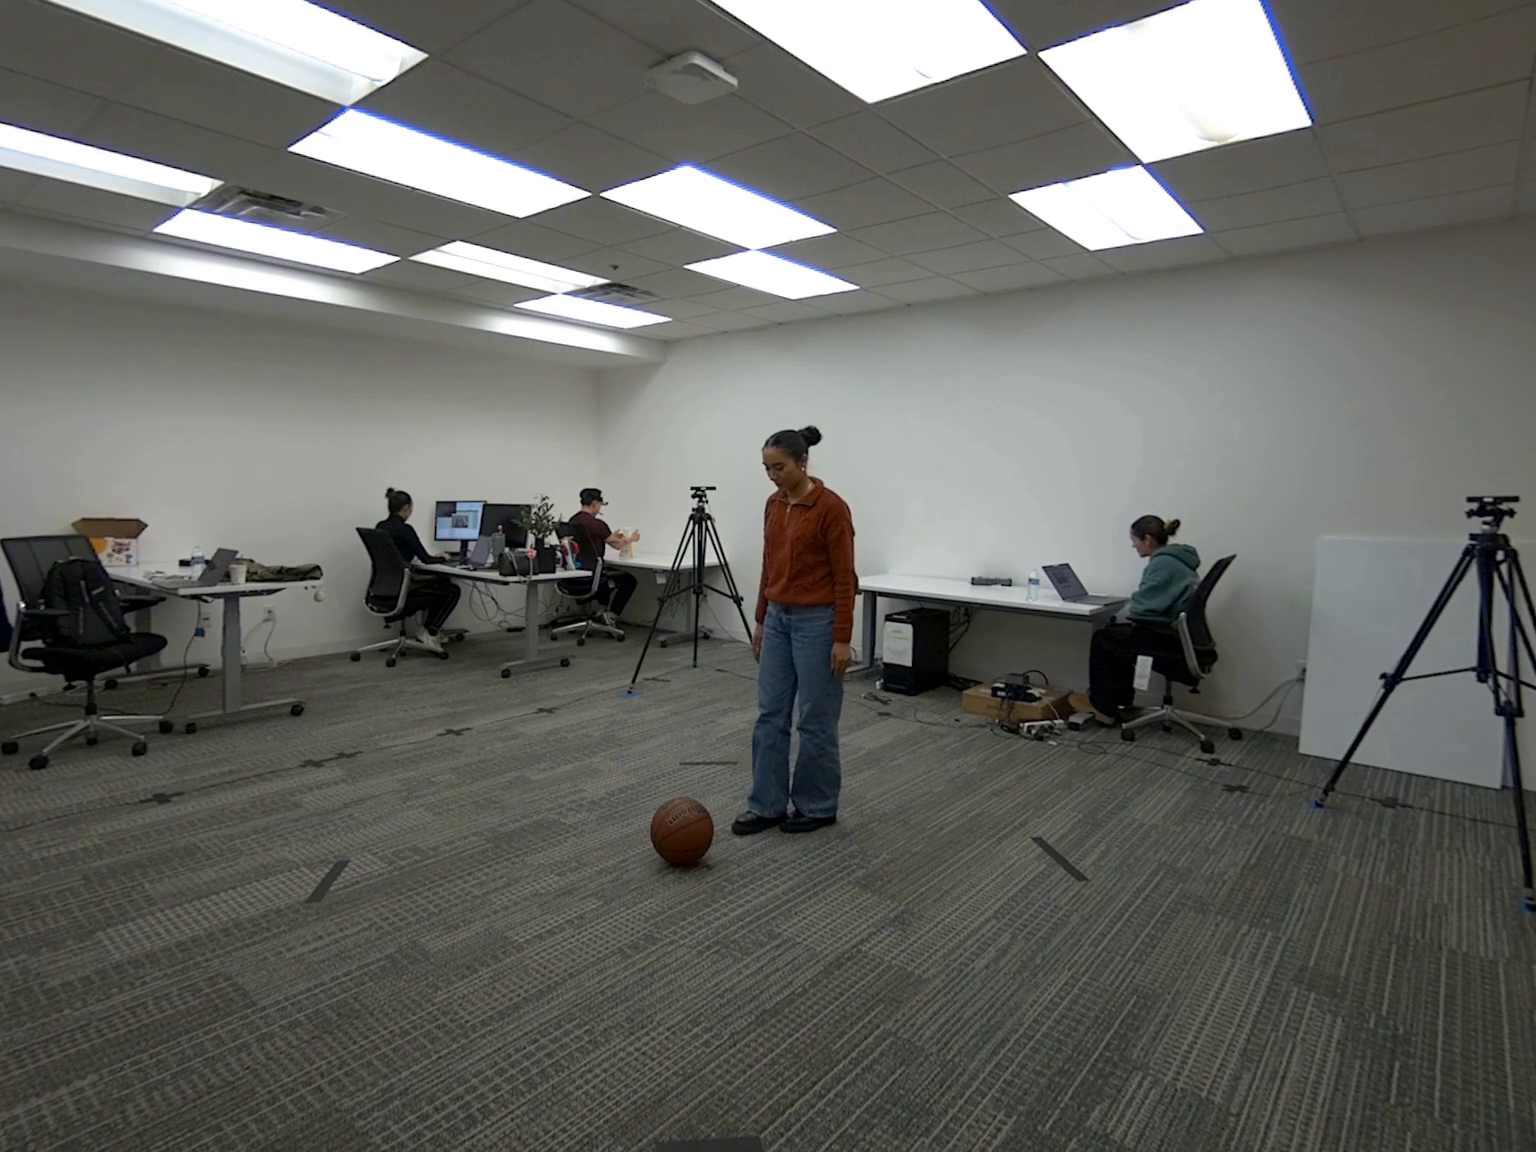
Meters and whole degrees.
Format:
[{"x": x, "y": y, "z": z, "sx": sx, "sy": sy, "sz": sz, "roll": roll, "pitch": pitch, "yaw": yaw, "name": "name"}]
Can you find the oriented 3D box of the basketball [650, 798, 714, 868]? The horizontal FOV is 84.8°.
[{"x": -0.324, "y": 0.940, "z": 3.153, "sx": 0.235, "sy": 0.235, "sz": 0.237, "roll": 1, "pitch": 4, "yaw": -2, "name": "basketball"}]
